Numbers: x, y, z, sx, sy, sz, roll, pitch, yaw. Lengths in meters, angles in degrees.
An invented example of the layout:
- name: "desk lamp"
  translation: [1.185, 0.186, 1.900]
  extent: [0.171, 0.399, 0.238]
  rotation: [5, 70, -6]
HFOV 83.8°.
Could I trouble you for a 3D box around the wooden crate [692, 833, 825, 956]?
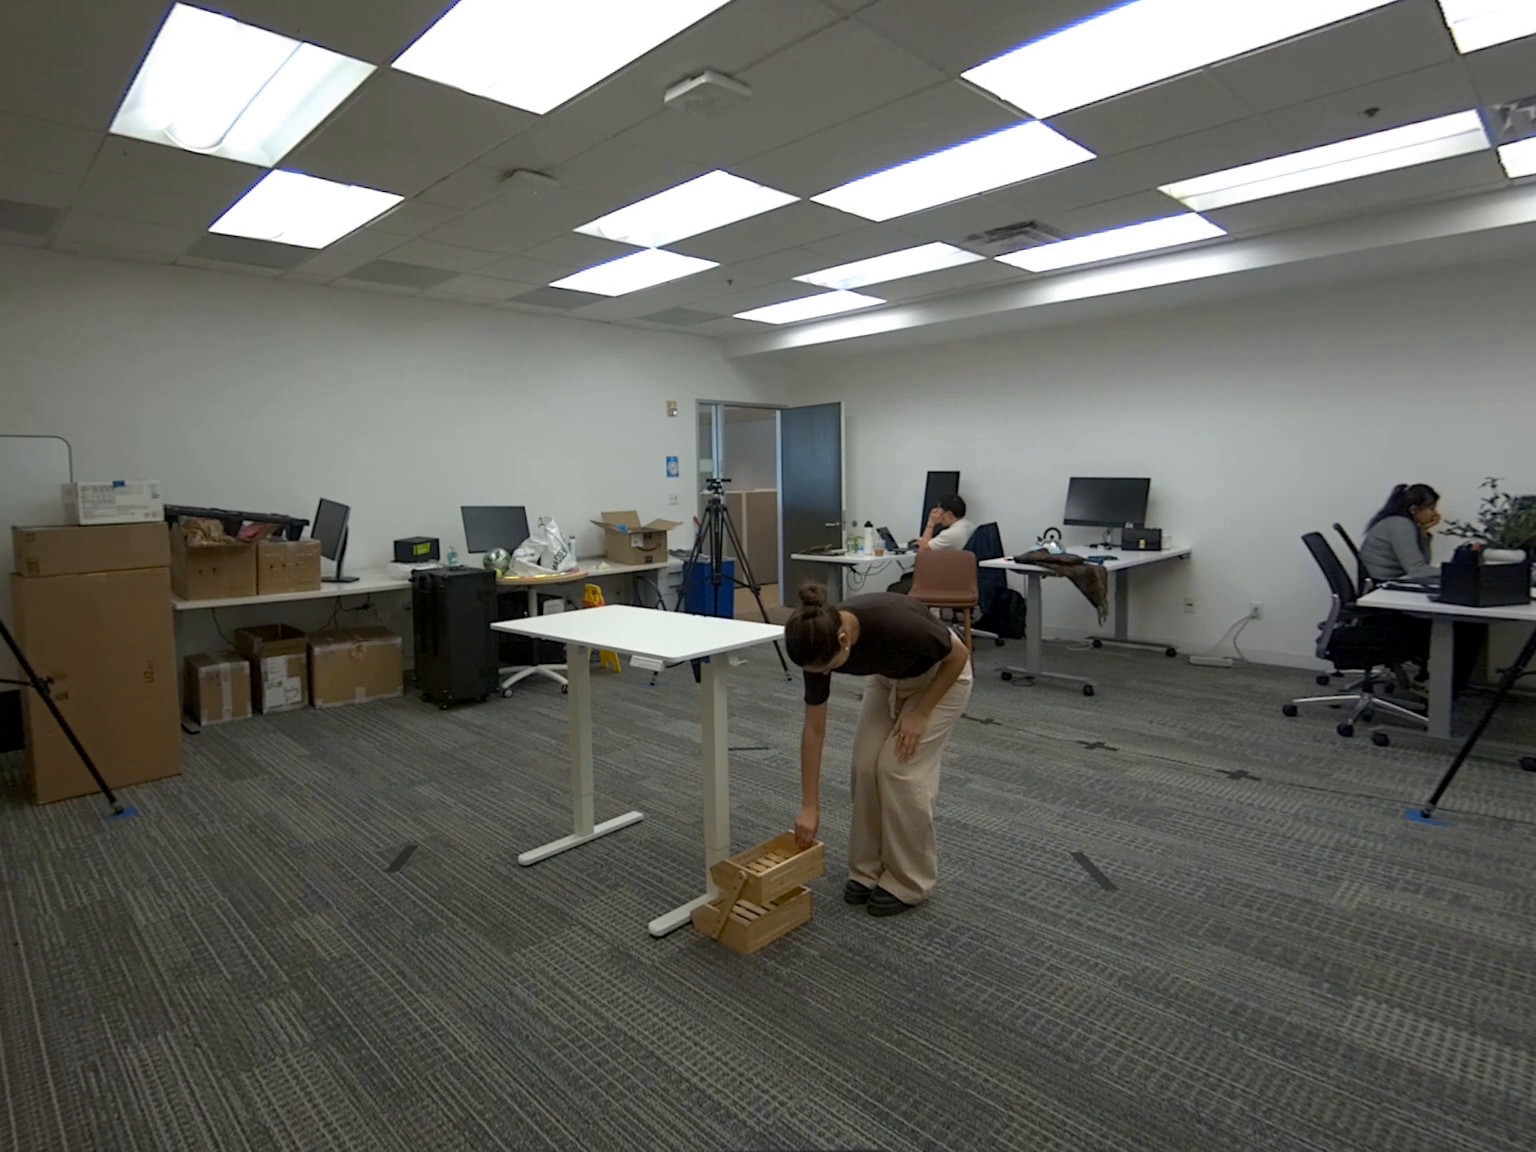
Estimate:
- name: "wooden crate"
  translation: [-0.032, 0.962, 2.664]
  extent: [0.311, 0.272, 0.316]
  rotation: [5, 9, 43]
